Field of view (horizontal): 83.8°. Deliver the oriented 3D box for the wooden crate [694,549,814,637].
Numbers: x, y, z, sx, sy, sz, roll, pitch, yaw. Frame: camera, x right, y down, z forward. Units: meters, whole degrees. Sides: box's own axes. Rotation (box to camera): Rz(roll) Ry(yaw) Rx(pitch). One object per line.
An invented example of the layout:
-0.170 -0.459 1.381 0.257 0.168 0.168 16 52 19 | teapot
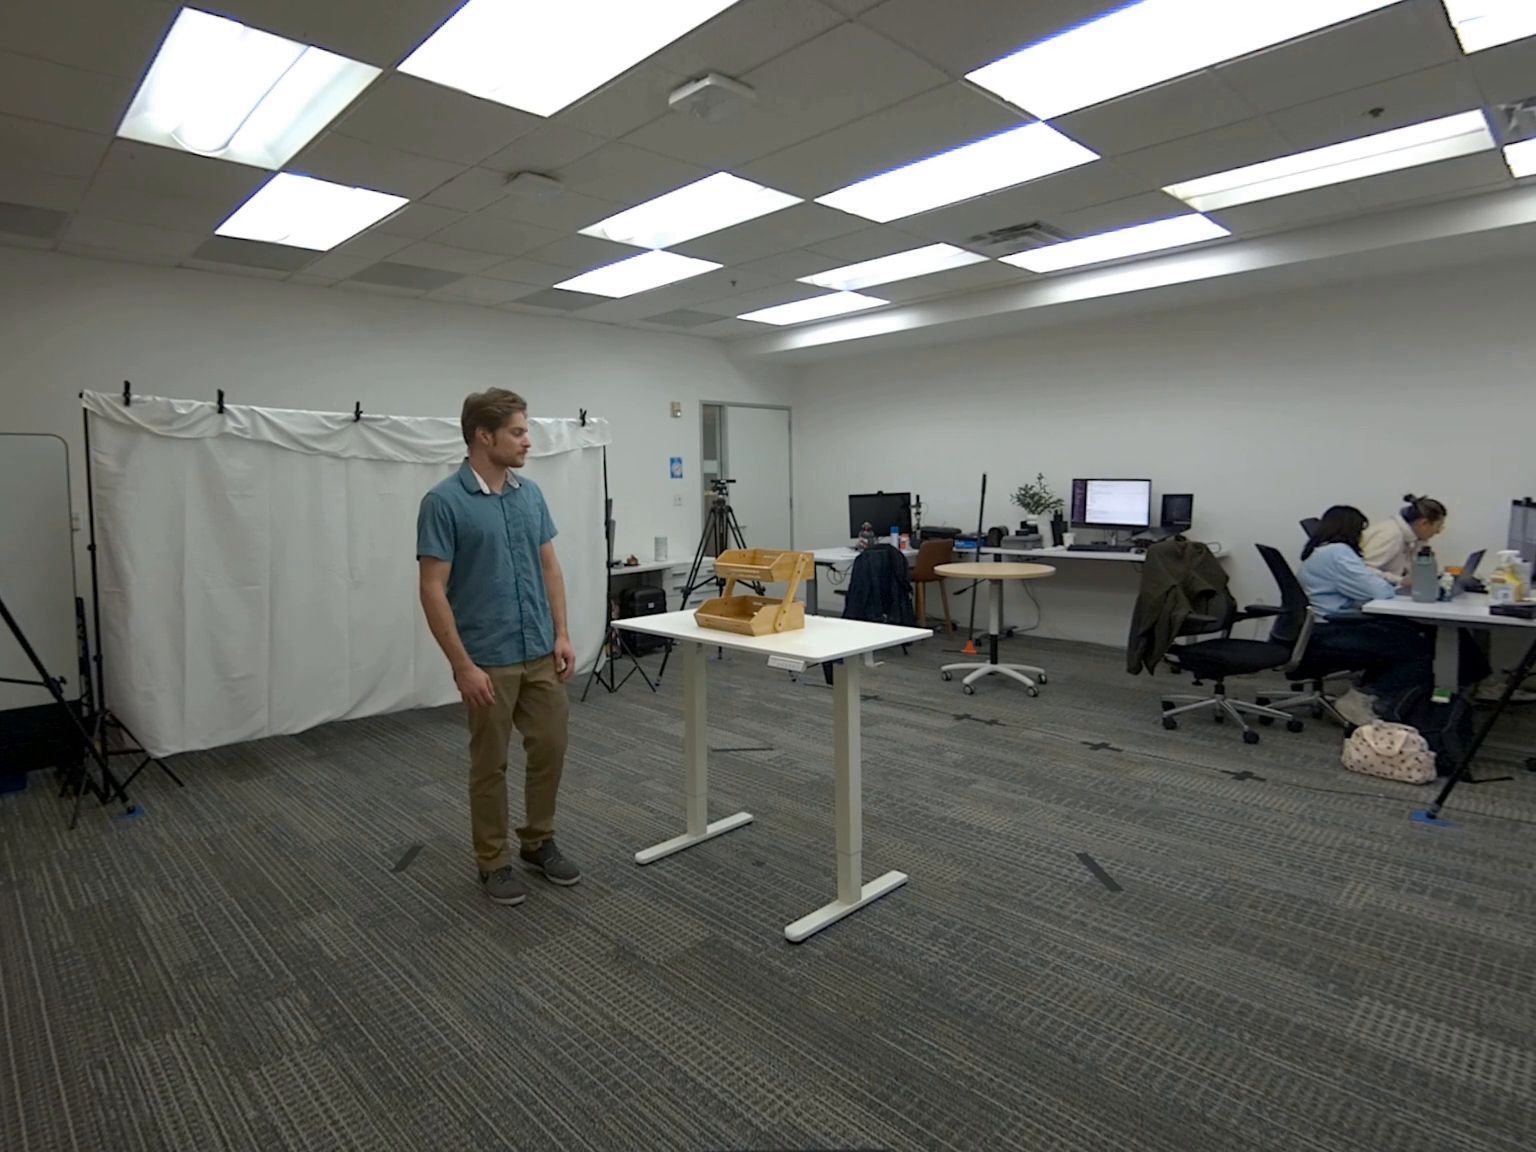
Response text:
-0.047 0.046 2.987 0.294 0.272 0.334 -4 5 -43 | wooden crate
